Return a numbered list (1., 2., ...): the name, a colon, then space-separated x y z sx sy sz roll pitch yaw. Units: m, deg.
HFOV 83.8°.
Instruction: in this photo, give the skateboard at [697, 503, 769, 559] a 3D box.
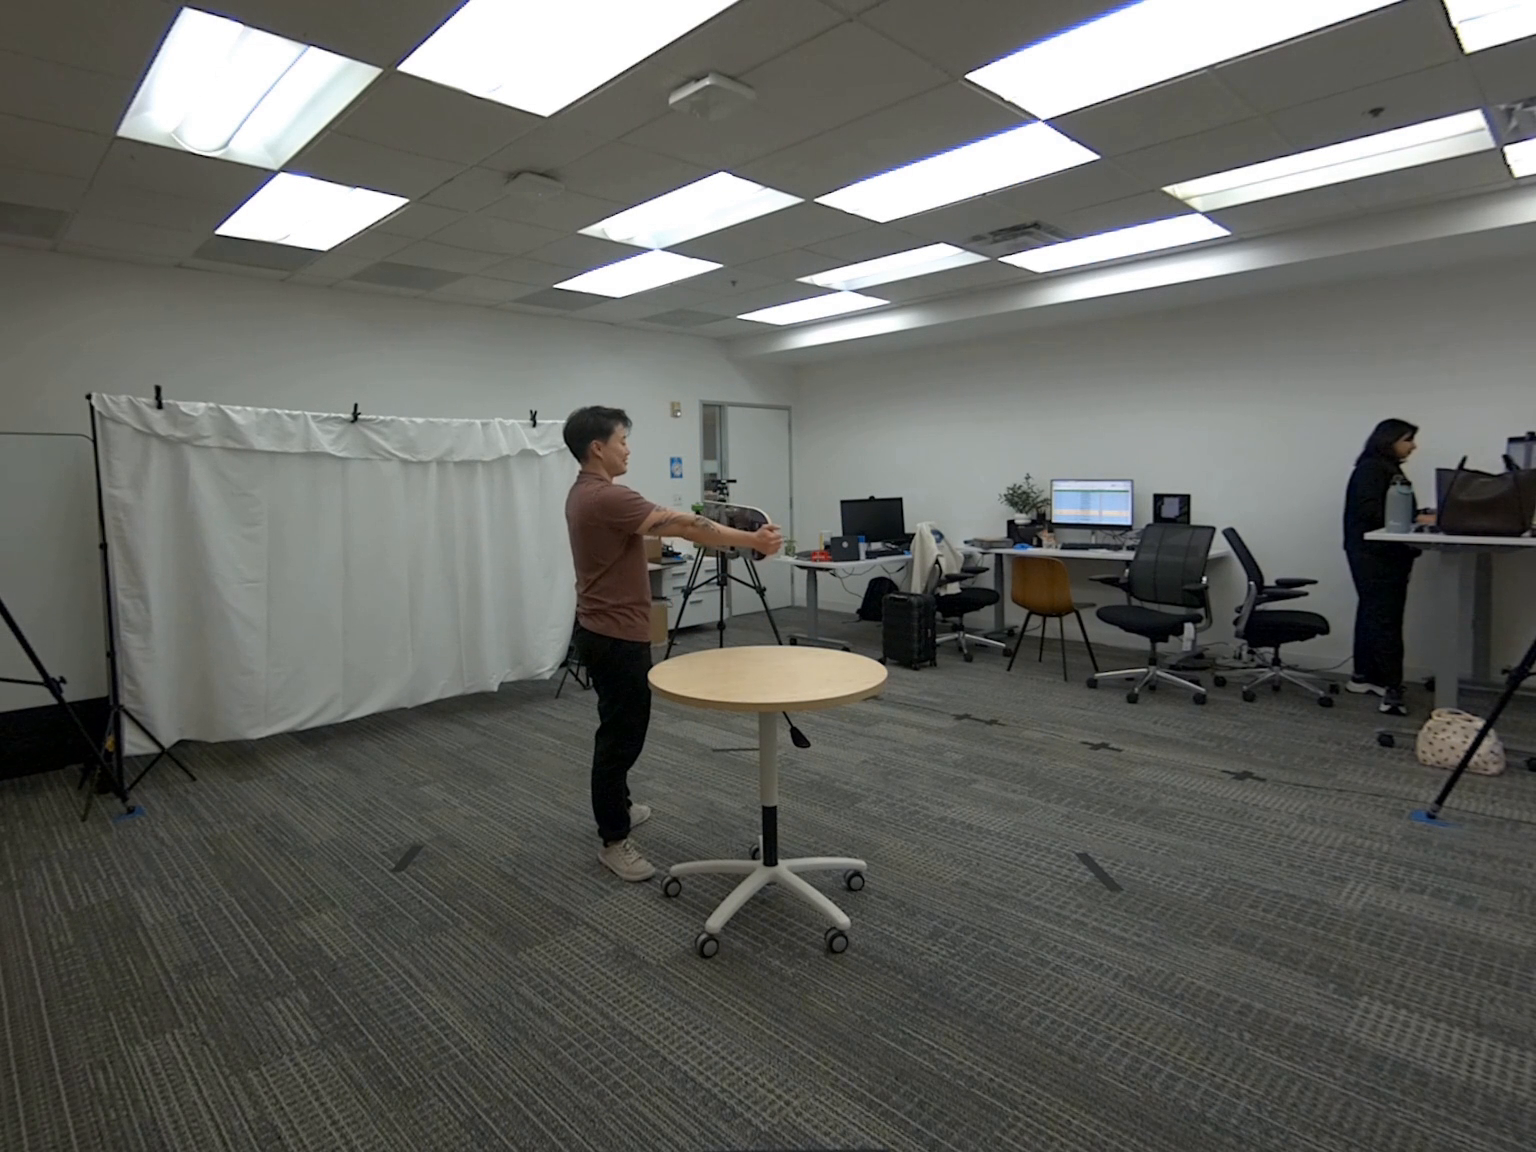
1. skateboard: -0.178 -0.188 3.340 0.108 0.192 0.804 -10 11 -21
